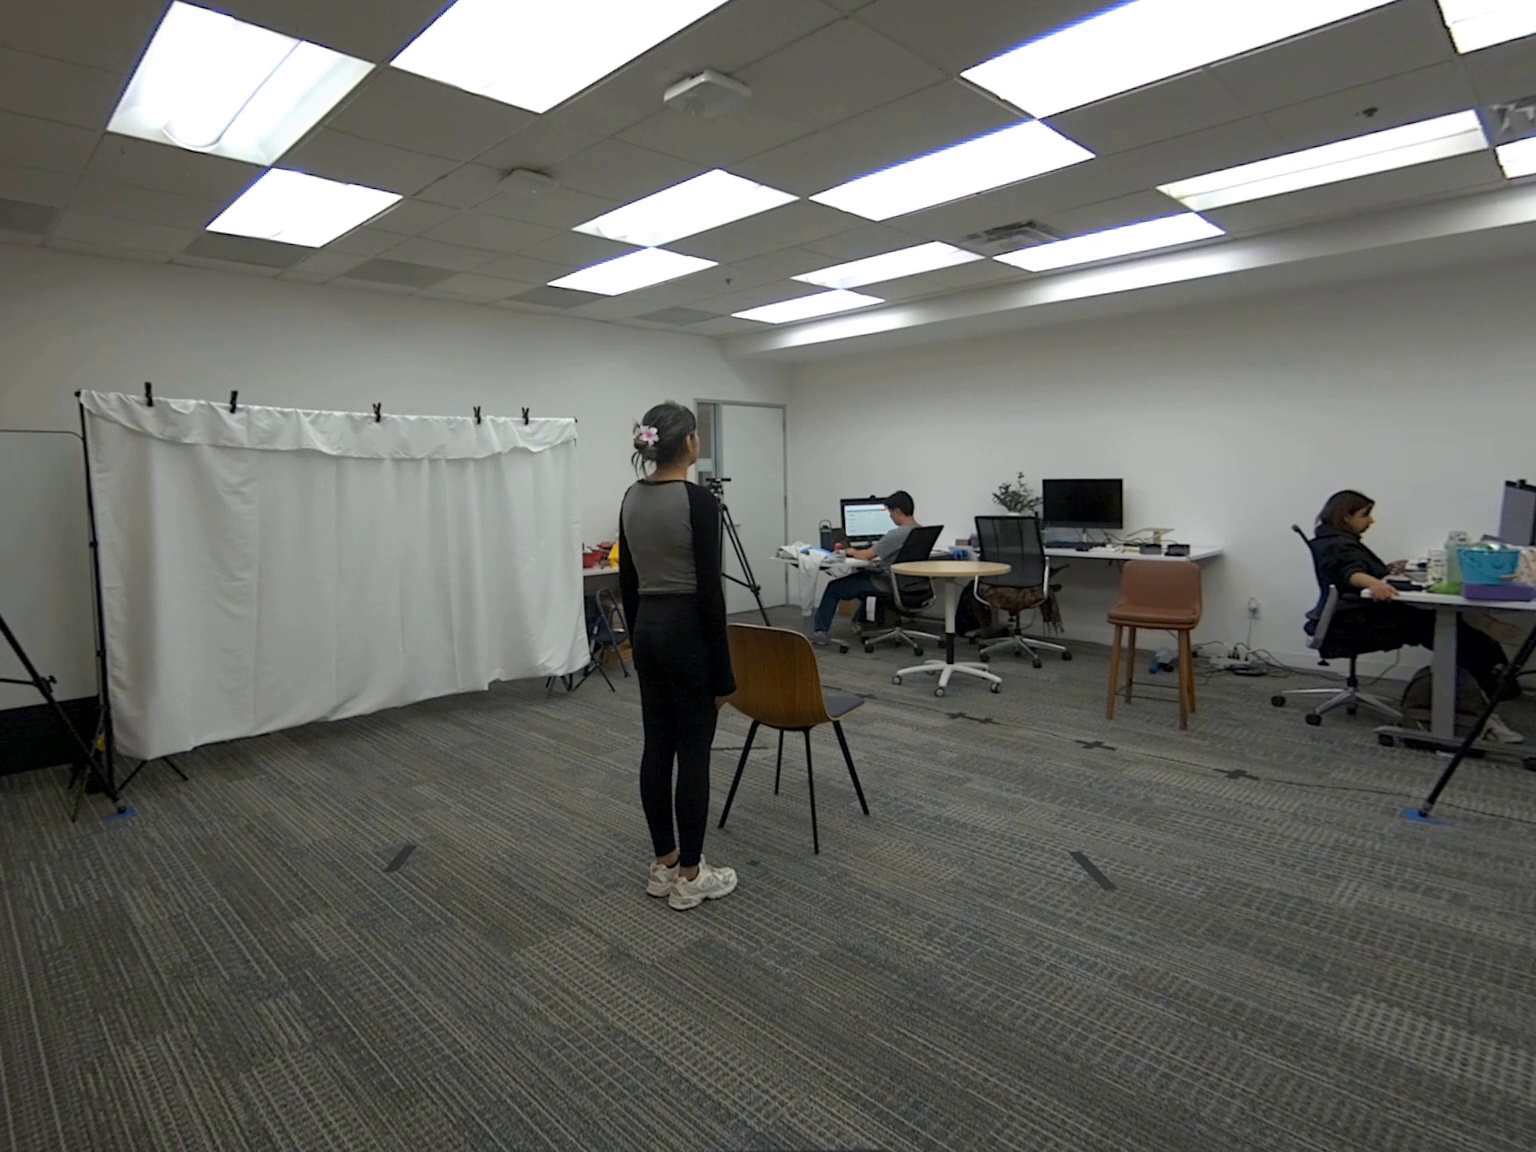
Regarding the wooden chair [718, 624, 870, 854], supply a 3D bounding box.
[{"bbox_3d":[0.106,0.572,3.453,0.491,0.871,0.513,2,9,33],"label":"wooden chair"}]
